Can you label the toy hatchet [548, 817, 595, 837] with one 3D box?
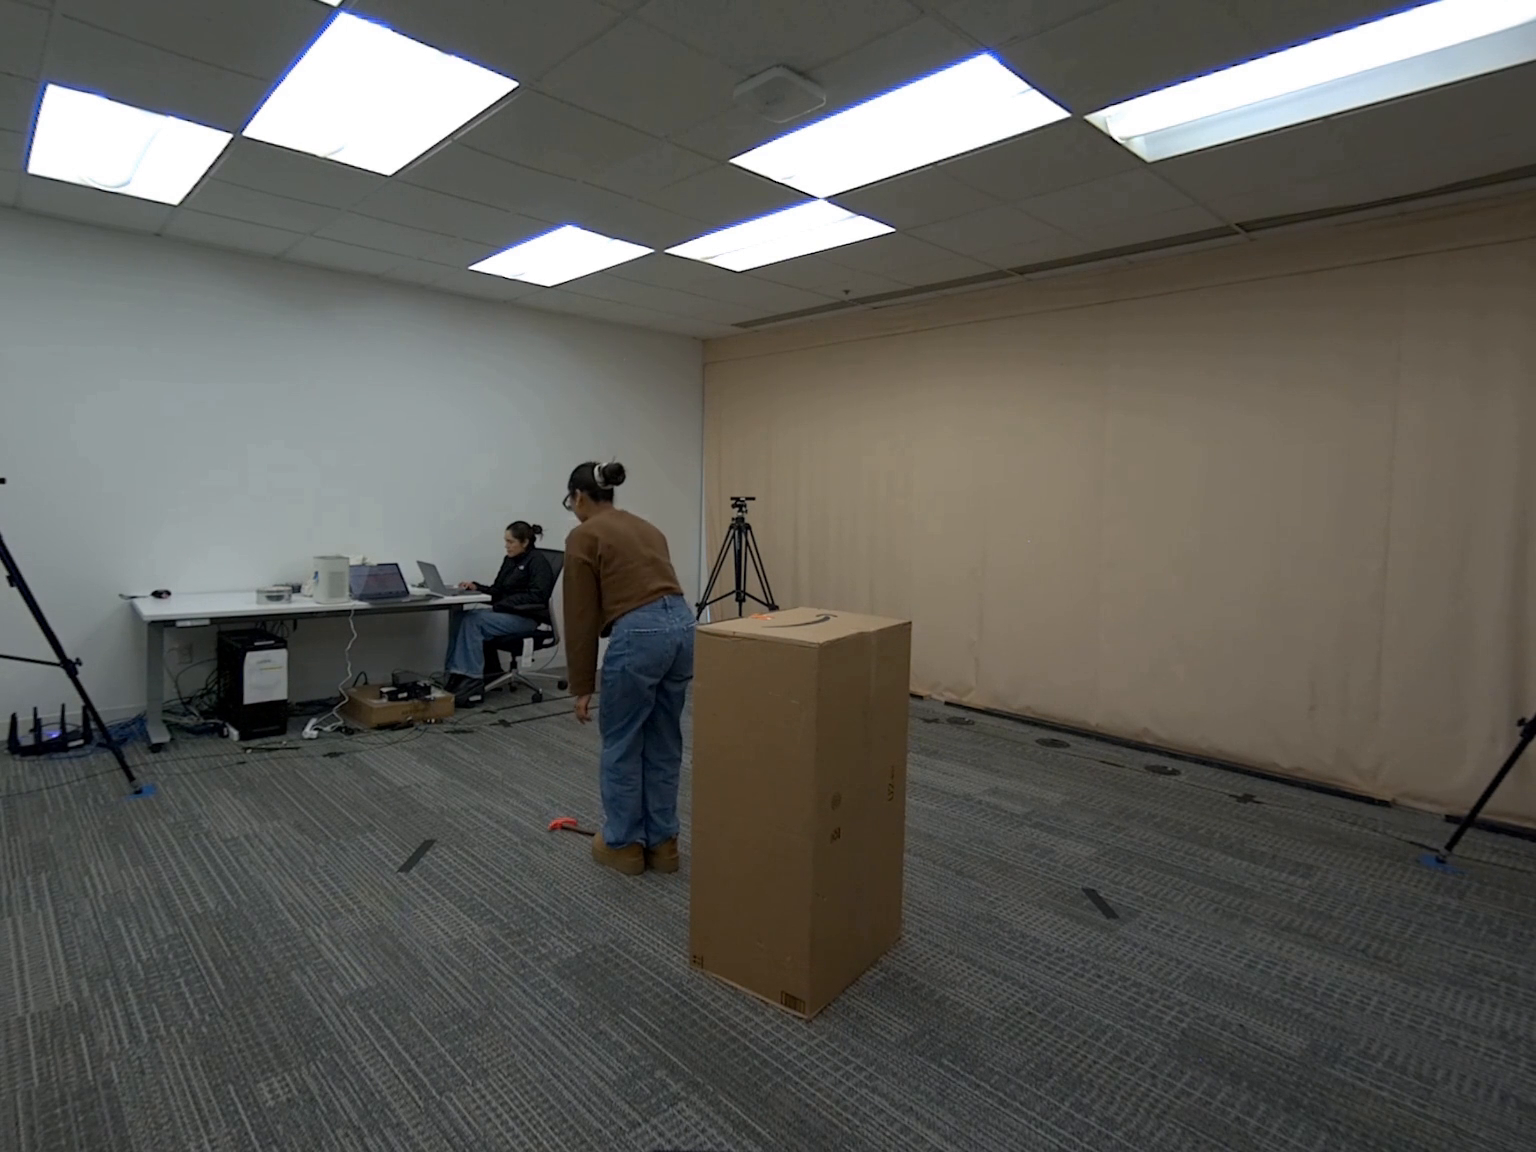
[{"bbox_3d":[-0.787,1.049,3.508,0.273,0.029,0.130,4,2,13],"label":"toy hatchet"}]
